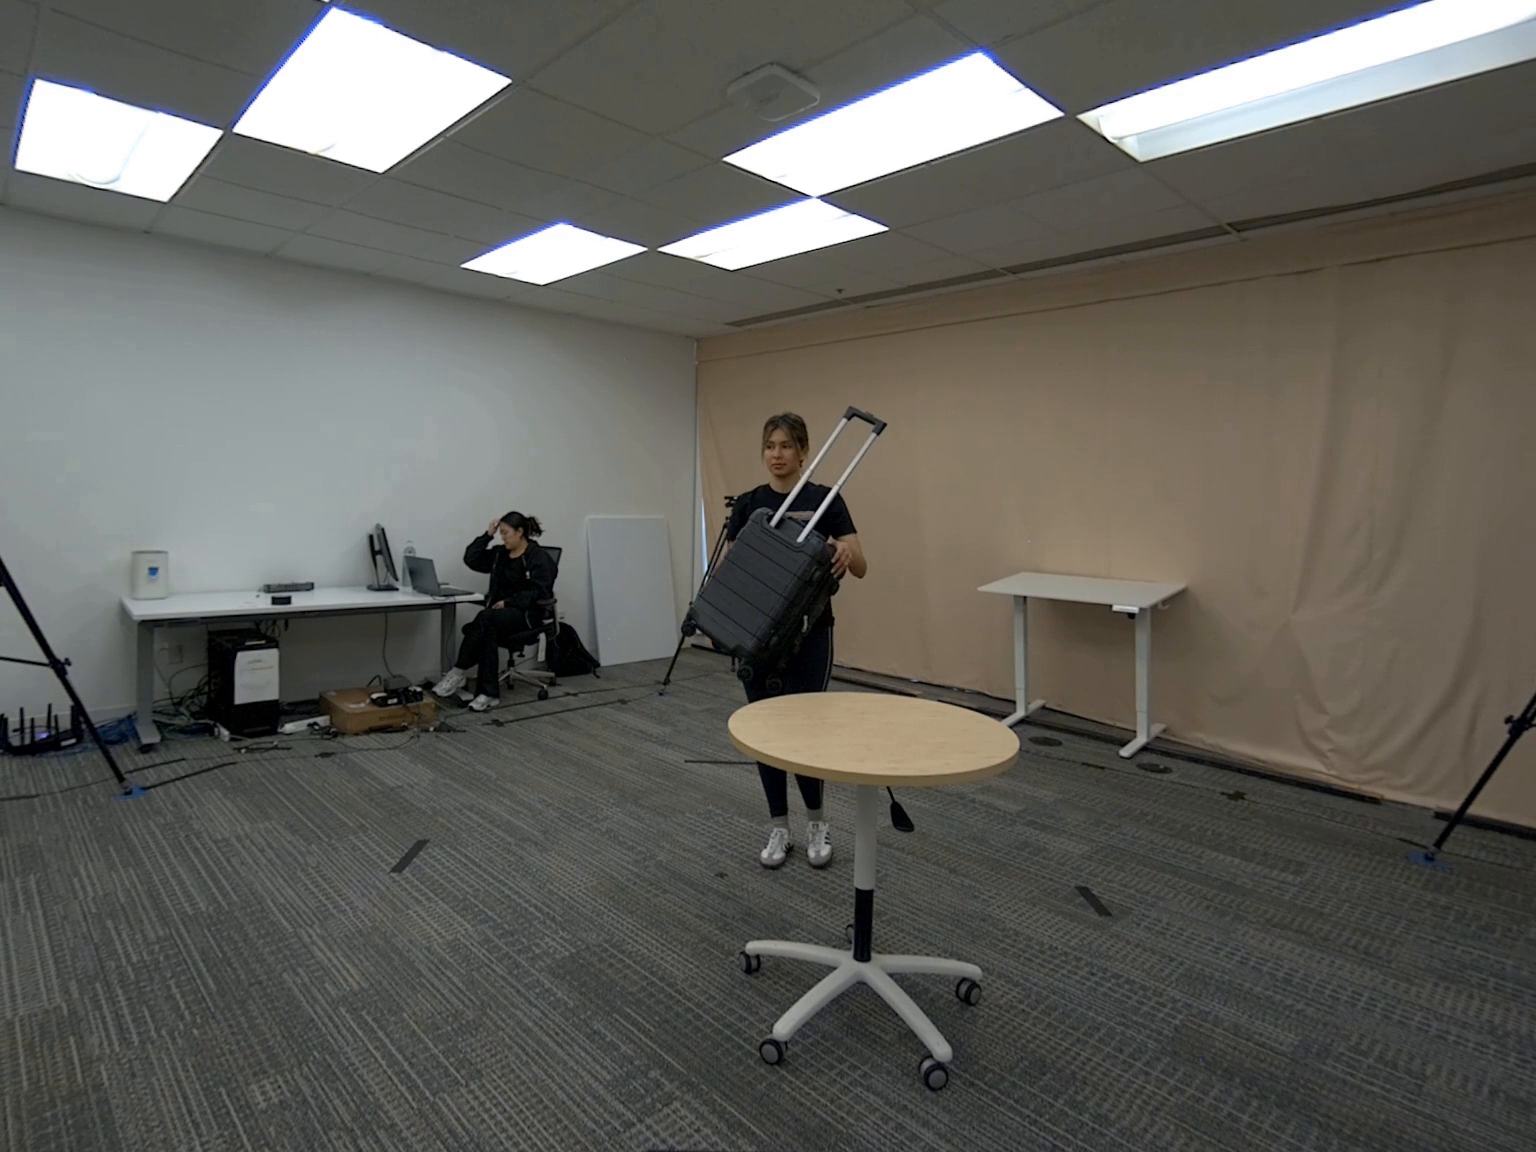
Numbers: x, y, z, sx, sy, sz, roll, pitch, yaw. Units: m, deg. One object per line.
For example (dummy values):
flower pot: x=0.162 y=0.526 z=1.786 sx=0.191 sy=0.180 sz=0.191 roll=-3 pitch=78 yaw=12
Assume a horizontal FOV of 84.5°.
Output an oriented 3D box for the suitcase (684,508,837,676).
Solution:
suitcase: x=0.097 y=-0.118 z=2.944 sx=0.396 sy=0.979 sz=0.249 roll=33 pitch=-2 yaw=36
